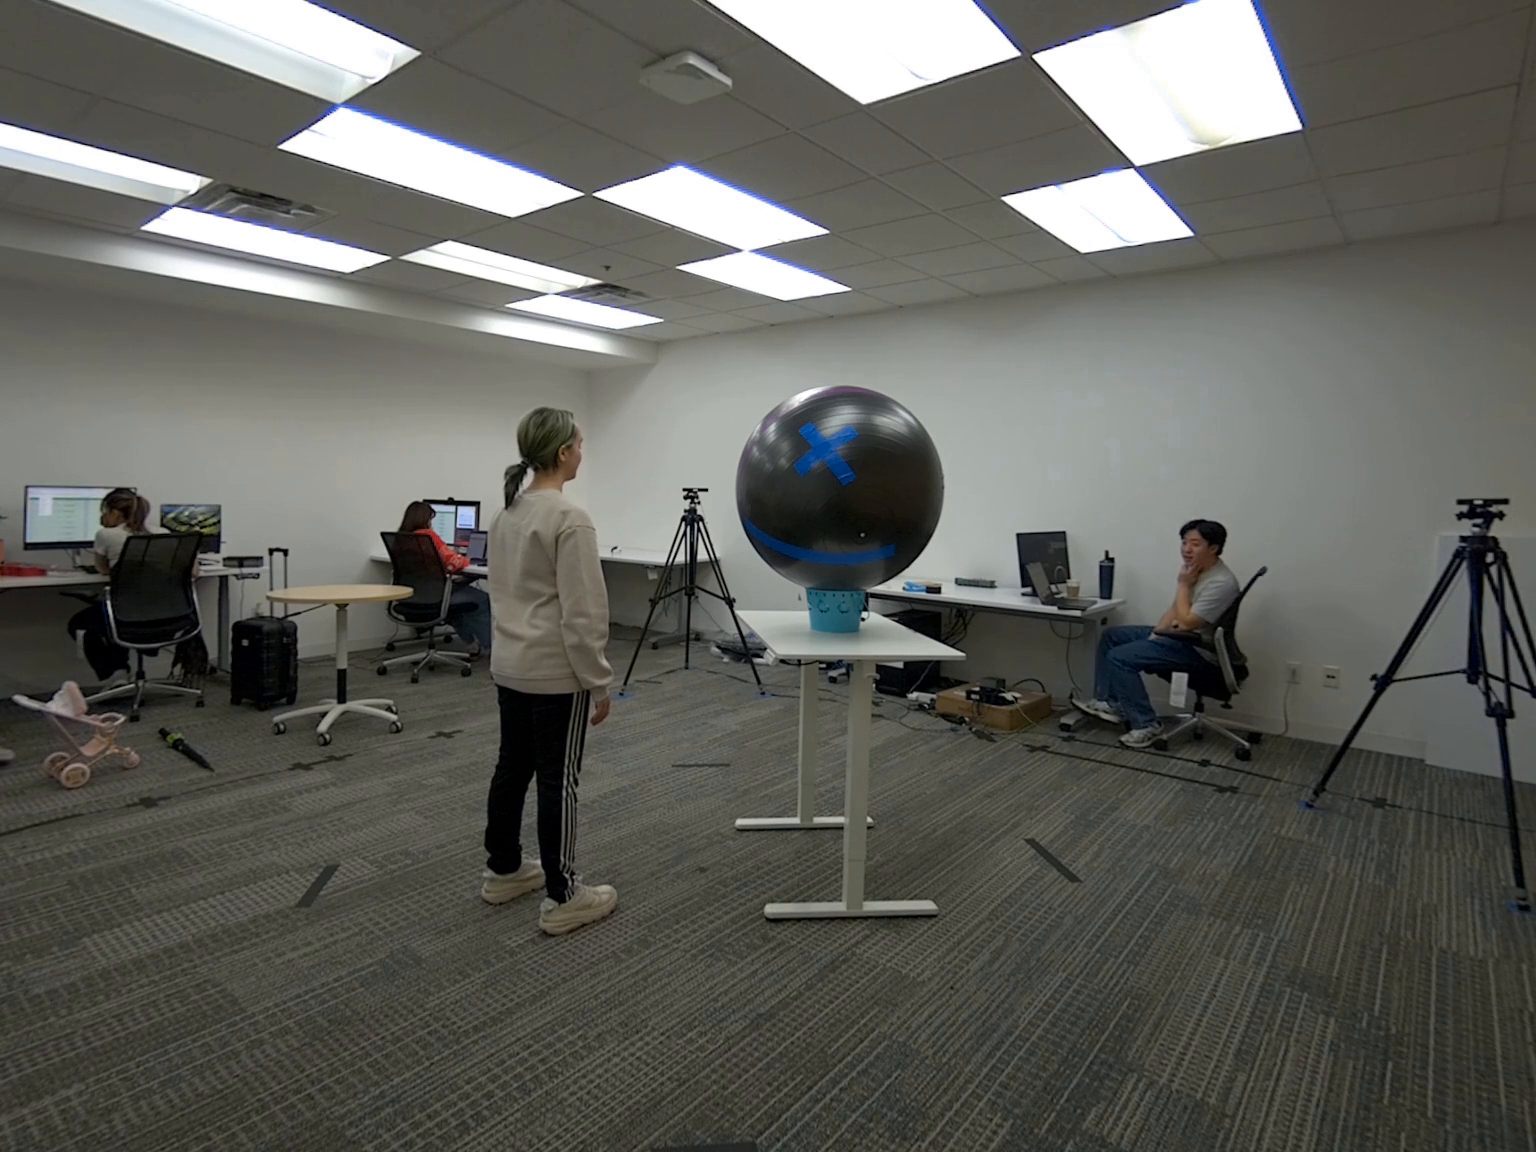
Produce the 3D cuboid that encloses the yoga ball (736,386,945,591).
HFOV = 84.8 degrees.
[{"bbox_3d":[0.247,-0.315,3.128,0.757,0.755,0.762,1,4,-2],"label":"yoga ball"}]
